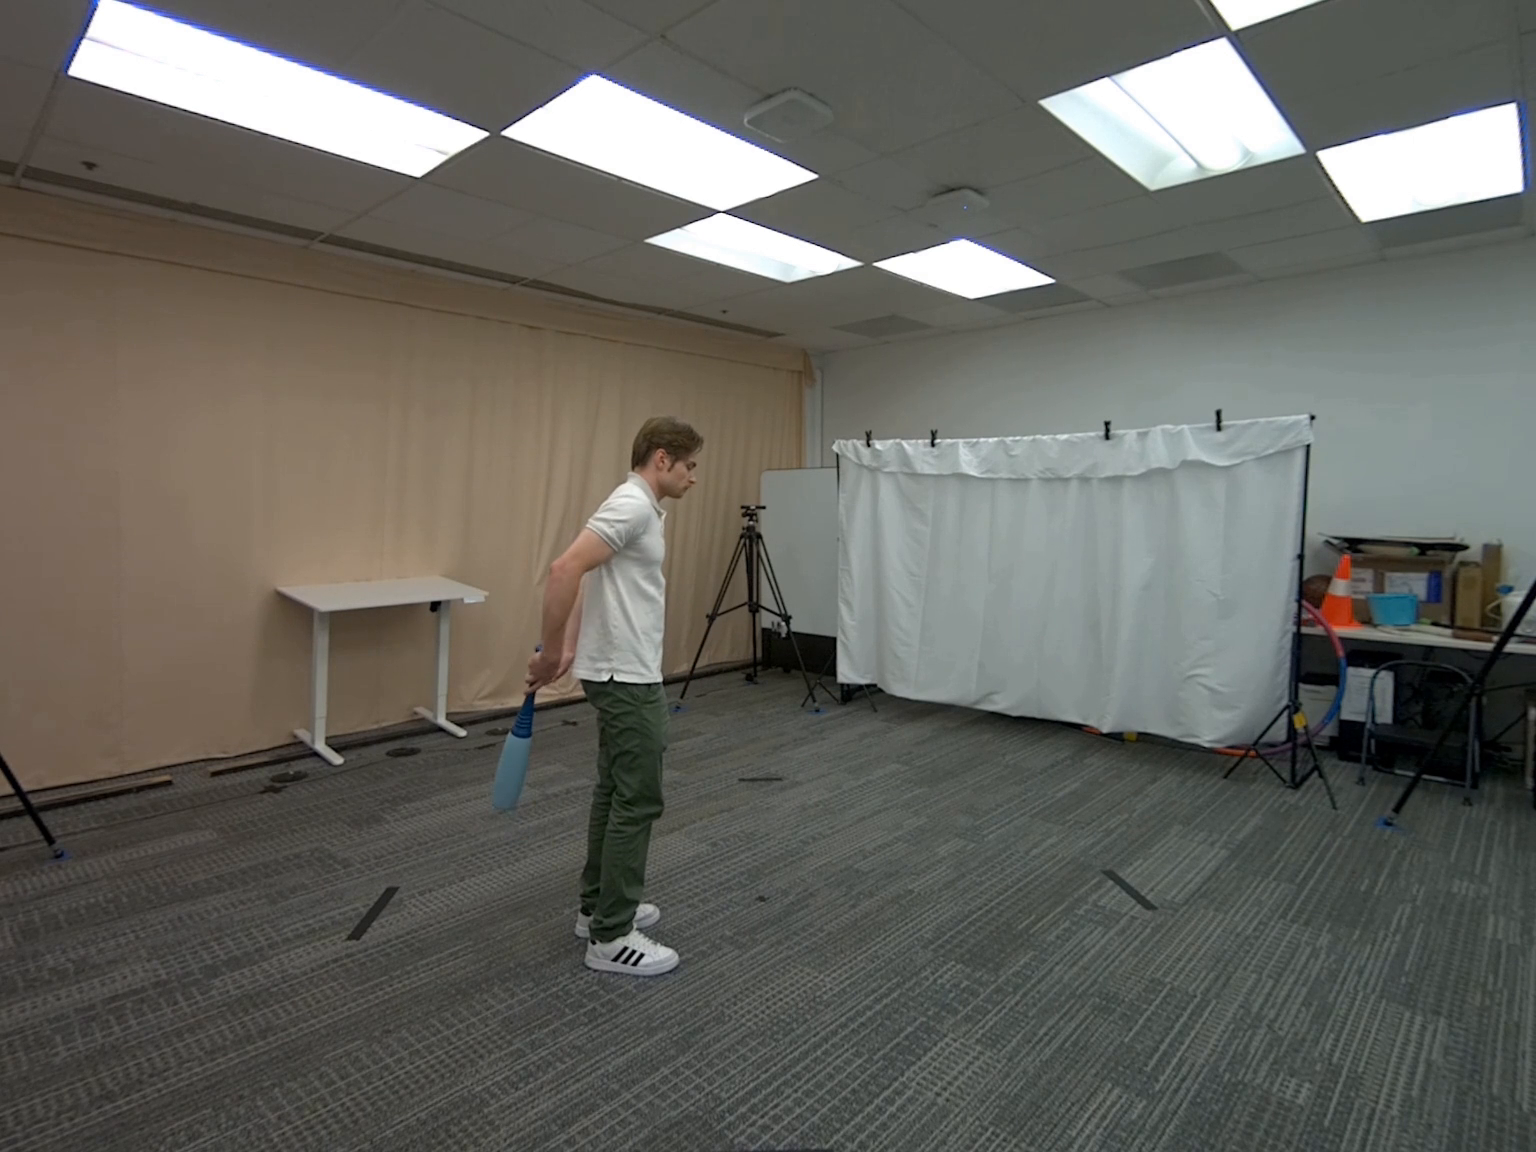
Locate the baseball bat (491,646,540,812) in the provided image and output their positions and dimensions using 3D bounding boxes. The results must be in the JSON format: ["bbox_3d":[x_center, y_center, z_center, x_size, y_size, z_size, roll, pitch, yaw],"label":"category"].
[{"bbox_3d":[-0.742,0.471,2.582,0.089,0.541,0.090,15,8,-4],"label":"baseball bat"}]
